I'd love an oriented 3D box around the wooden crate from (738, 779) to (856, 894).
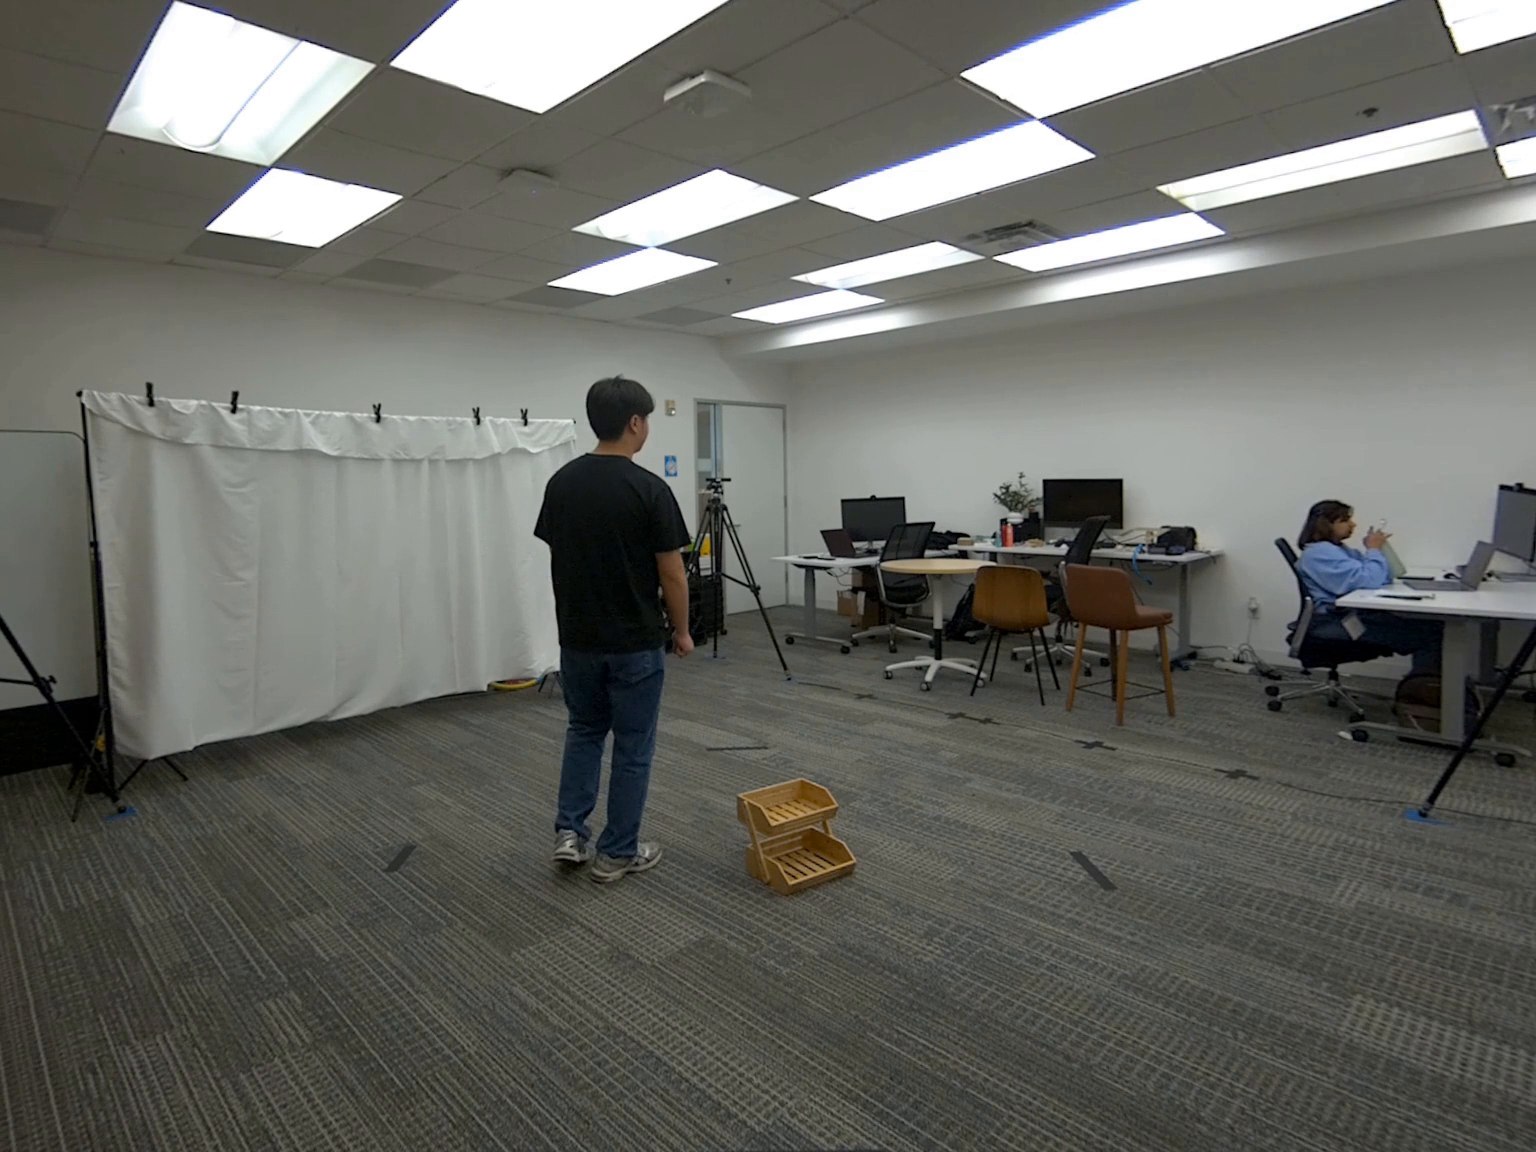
[{"bbox_3d":[0.101,0.907,3.033,0.316,0.272,0.311,-5,6,-35],"label":"wooden crate"}]
